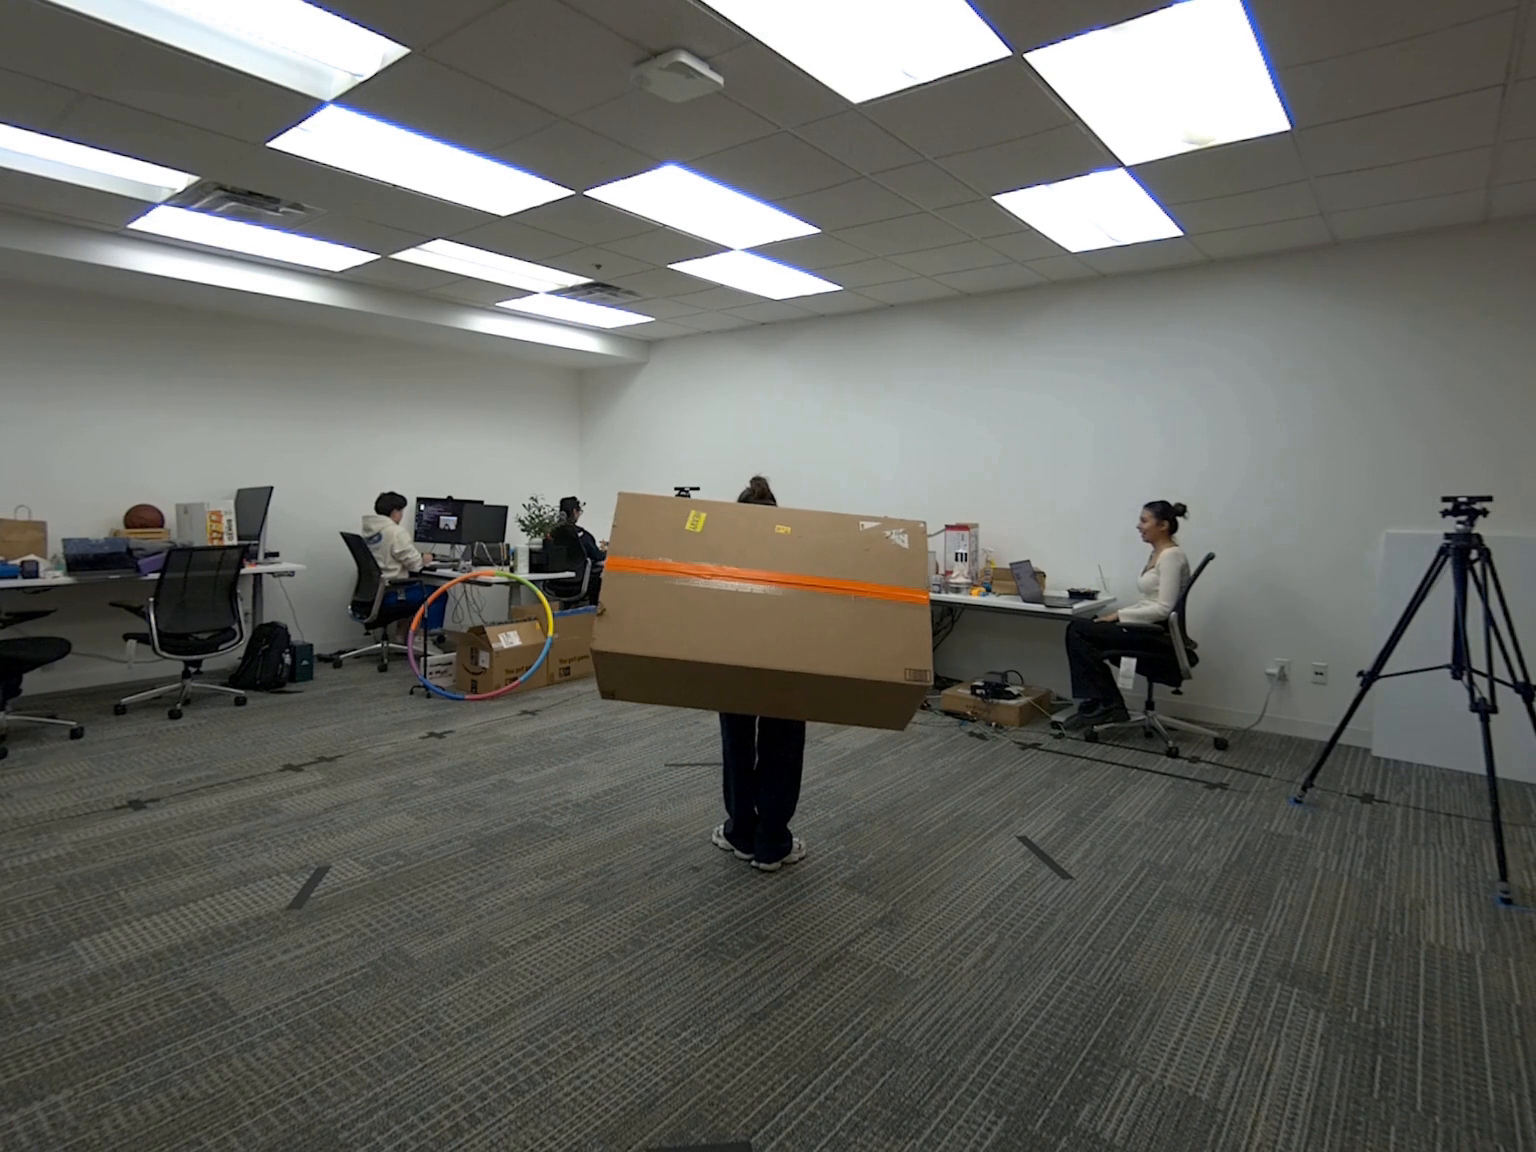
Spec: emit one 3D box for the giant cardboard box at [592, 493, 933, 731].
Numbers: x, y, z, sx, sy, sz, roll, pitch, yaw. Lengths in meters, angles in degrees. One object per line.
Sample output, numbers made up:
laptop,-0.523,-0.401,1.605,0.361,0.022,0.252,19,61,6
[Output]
giant cardboard box,-0.012,0.111,2.833,1.028,0.591,0.416,5,-32,1
